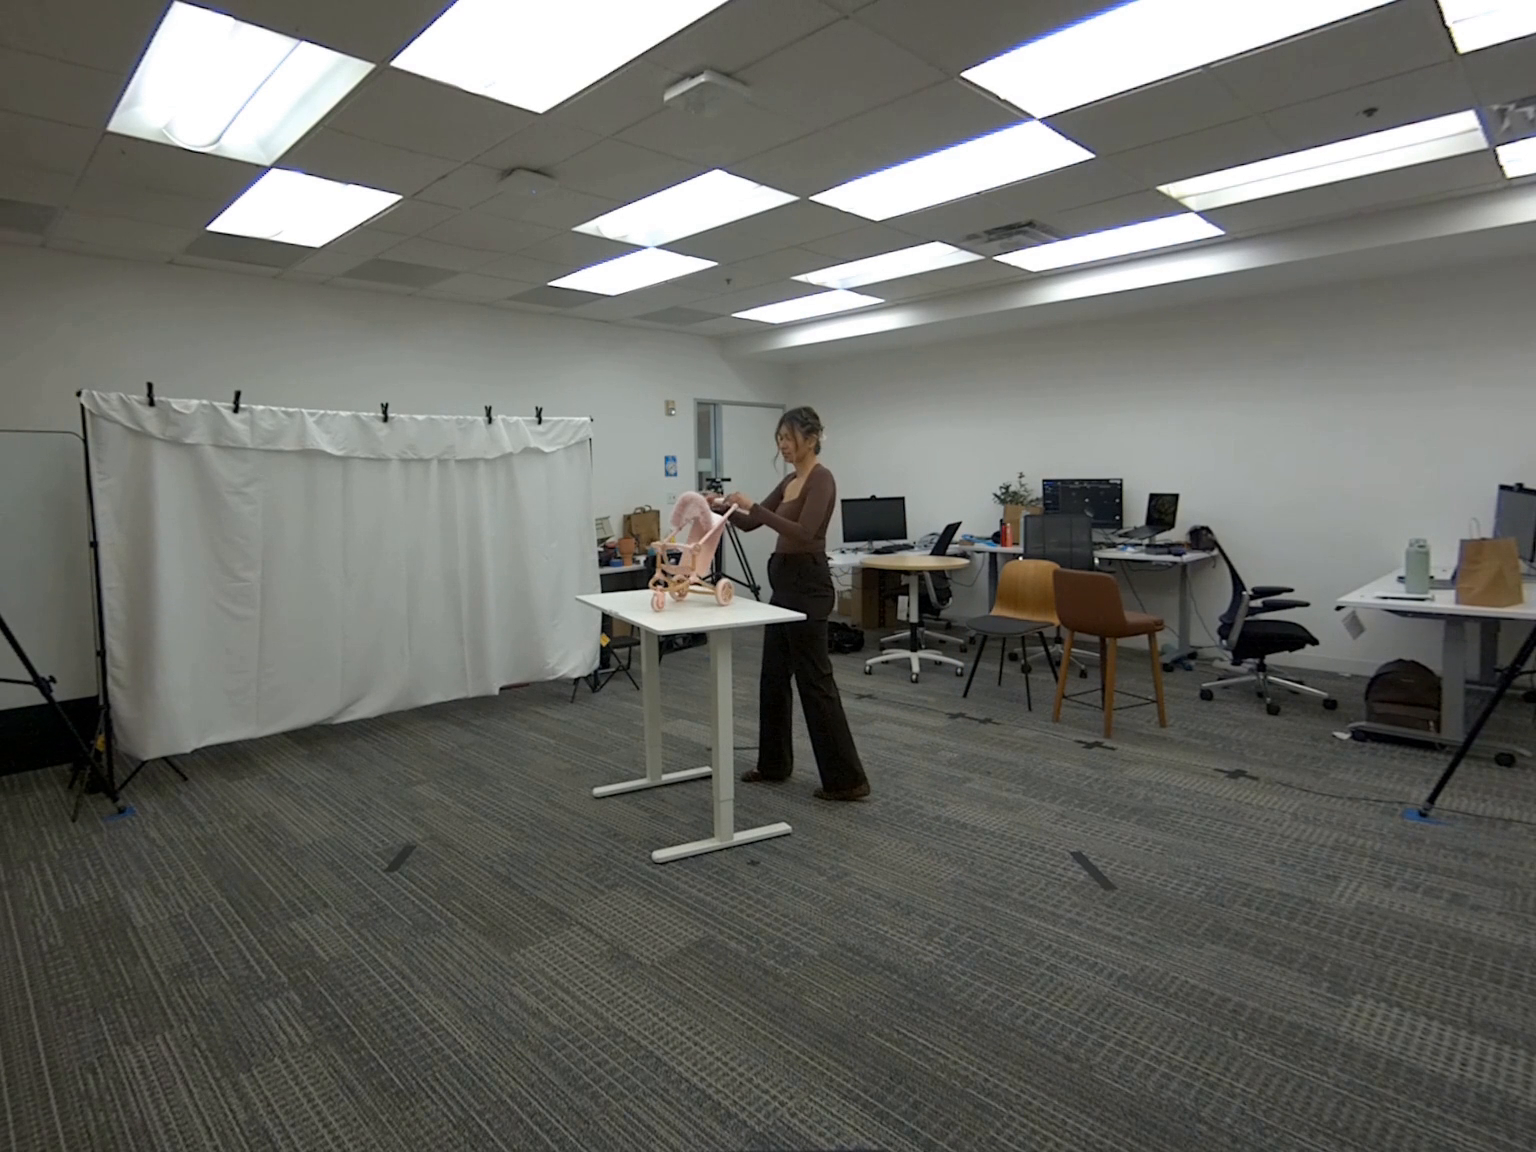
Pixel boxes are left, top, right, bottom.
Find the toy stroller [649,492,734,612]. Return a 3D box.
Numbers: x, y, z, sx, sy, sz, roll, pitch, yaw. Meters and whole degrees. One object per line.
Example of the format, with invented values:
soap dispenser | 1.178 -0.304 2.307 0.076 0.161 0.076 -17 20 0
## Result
toy stroller | -0.324 -0.103 3.488 0.290 0.538 0.329 2 -10 42
